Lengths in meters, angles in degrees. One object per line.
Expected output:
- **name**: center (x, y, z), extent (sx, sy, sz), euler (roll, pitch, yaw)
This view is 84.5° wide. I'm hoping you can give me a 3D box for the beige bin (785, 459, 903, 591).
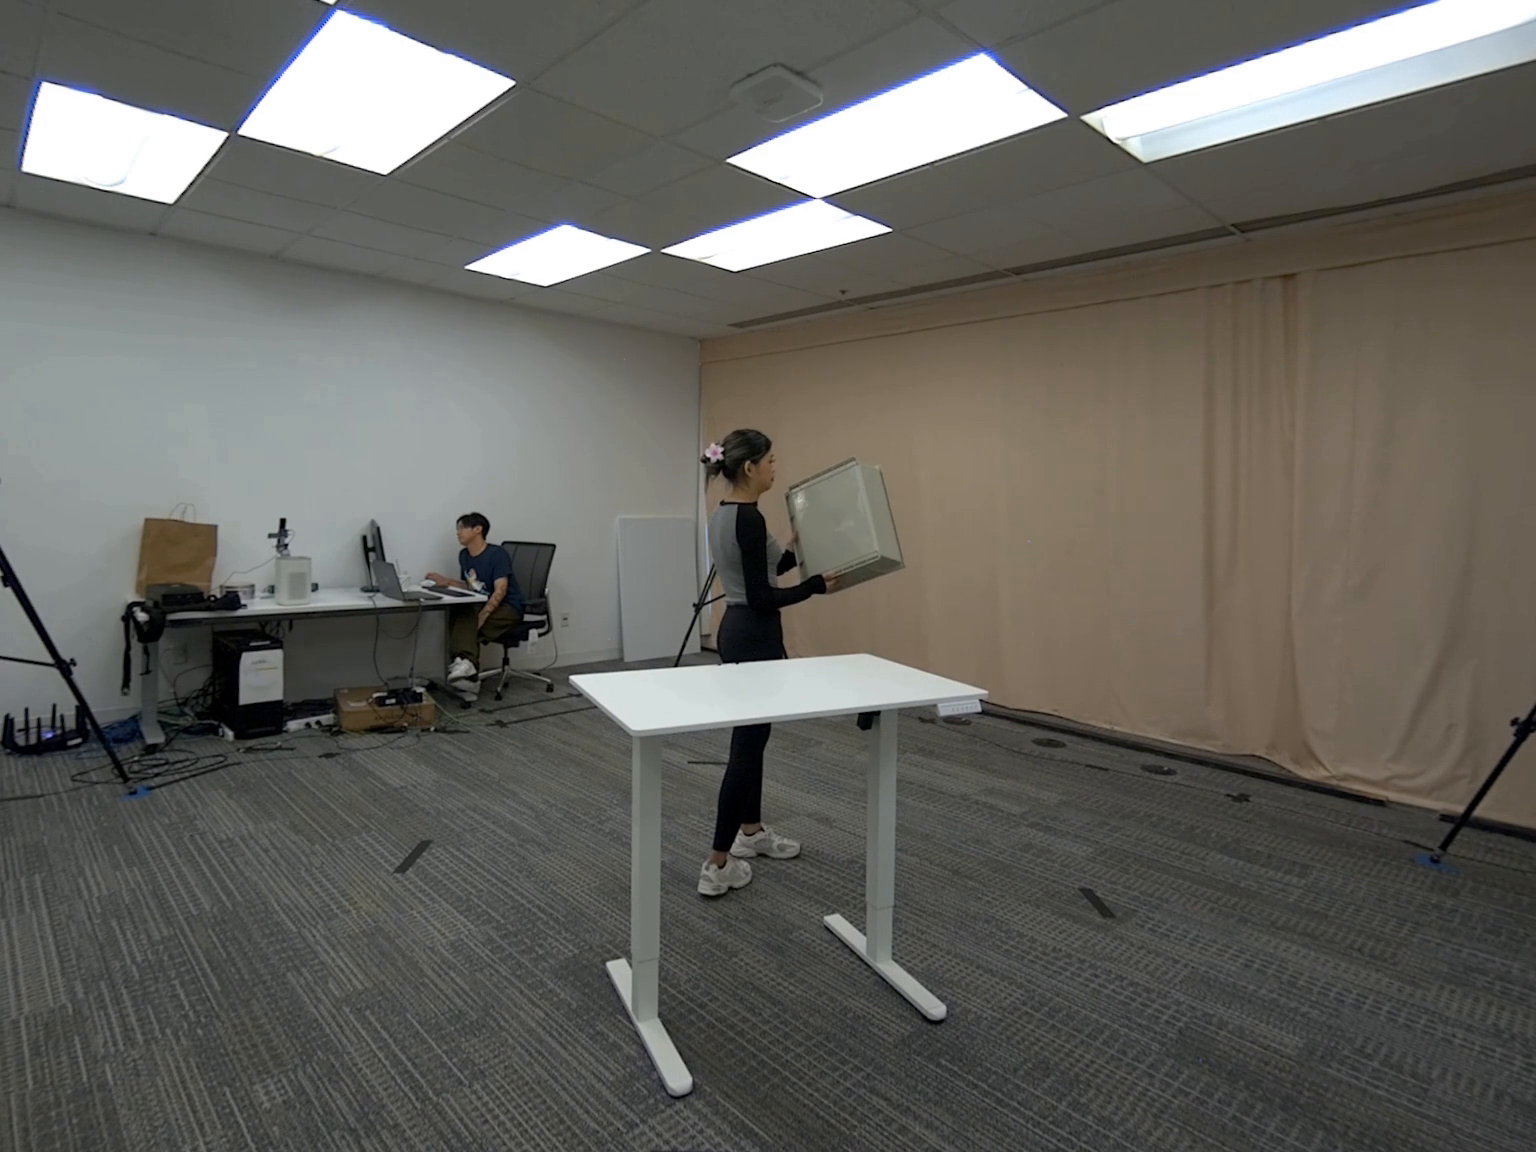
- **beige bin**: center (0.268, -0.186, 3.214), extent (0.382, 0.429, 0.183), euler (-24, -25, 34)
